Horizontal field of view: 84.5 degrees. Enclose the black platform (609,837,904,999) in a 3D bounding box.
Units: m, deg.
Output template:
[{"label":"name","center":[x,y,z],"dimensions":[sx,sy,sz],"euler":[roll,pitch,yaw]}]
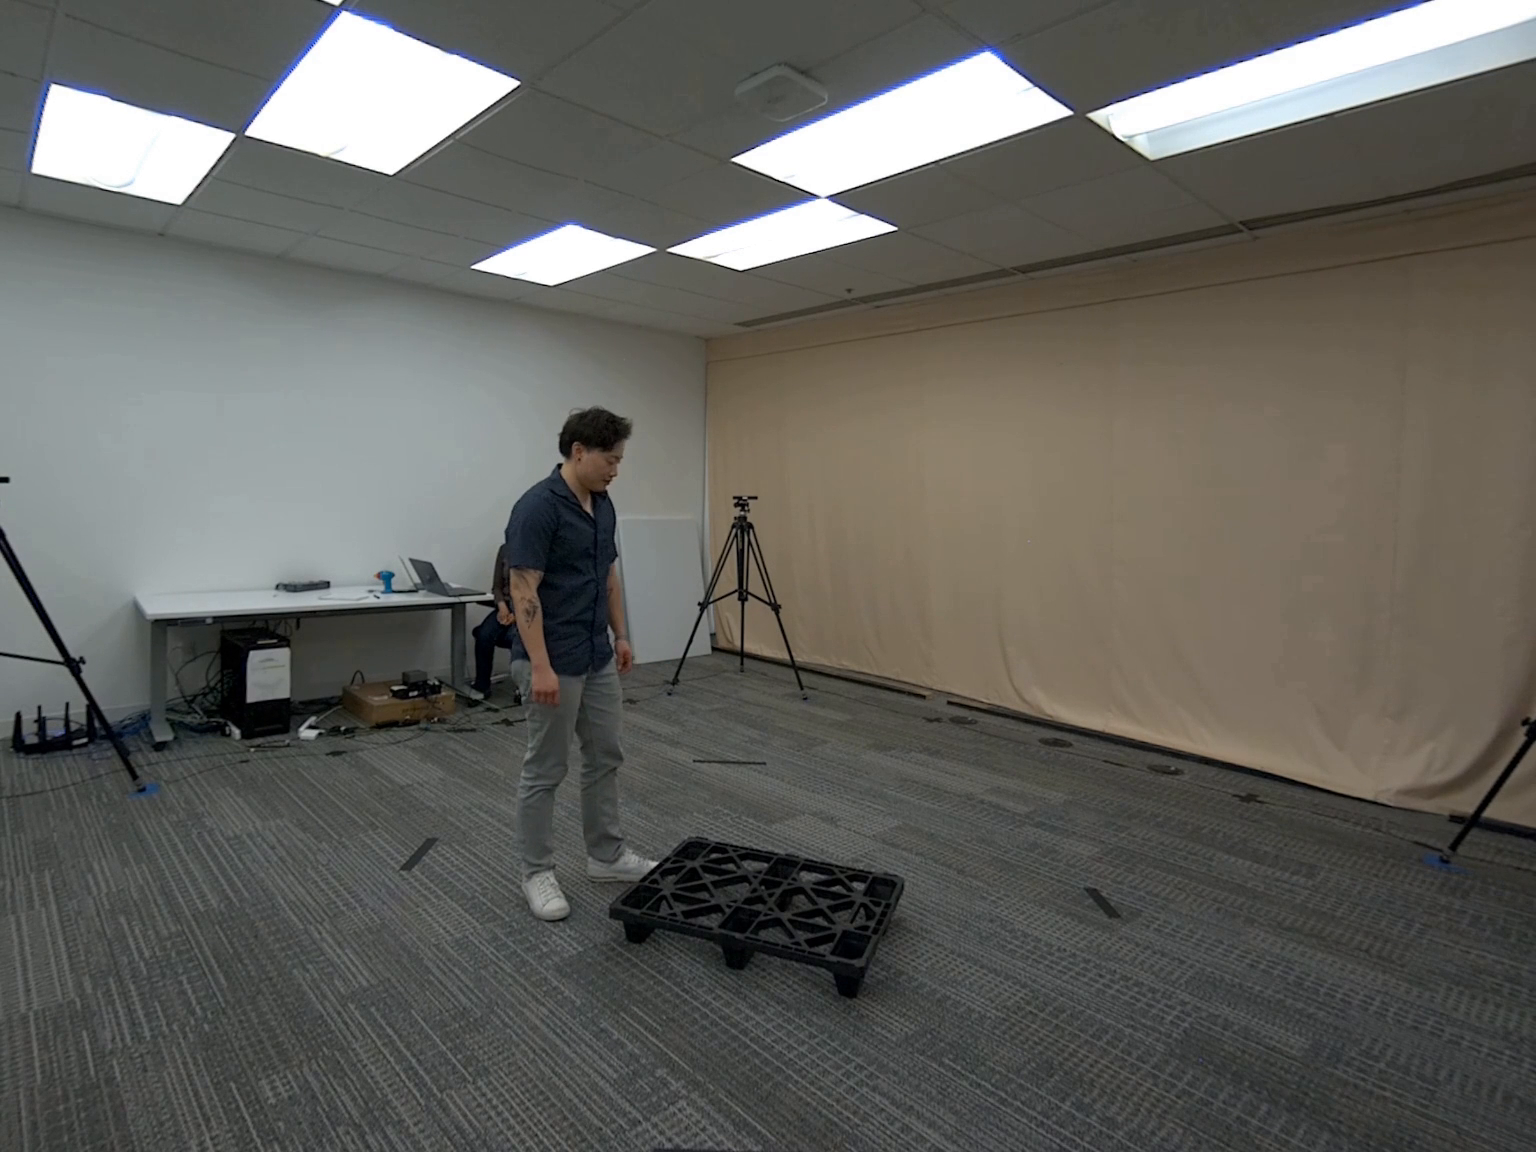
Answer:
[{"label":"black platform","center":[-0.020,1.075,2.693],"dimensions":[0.819,0.143,0.597],"euler":[3,7,21]}]
